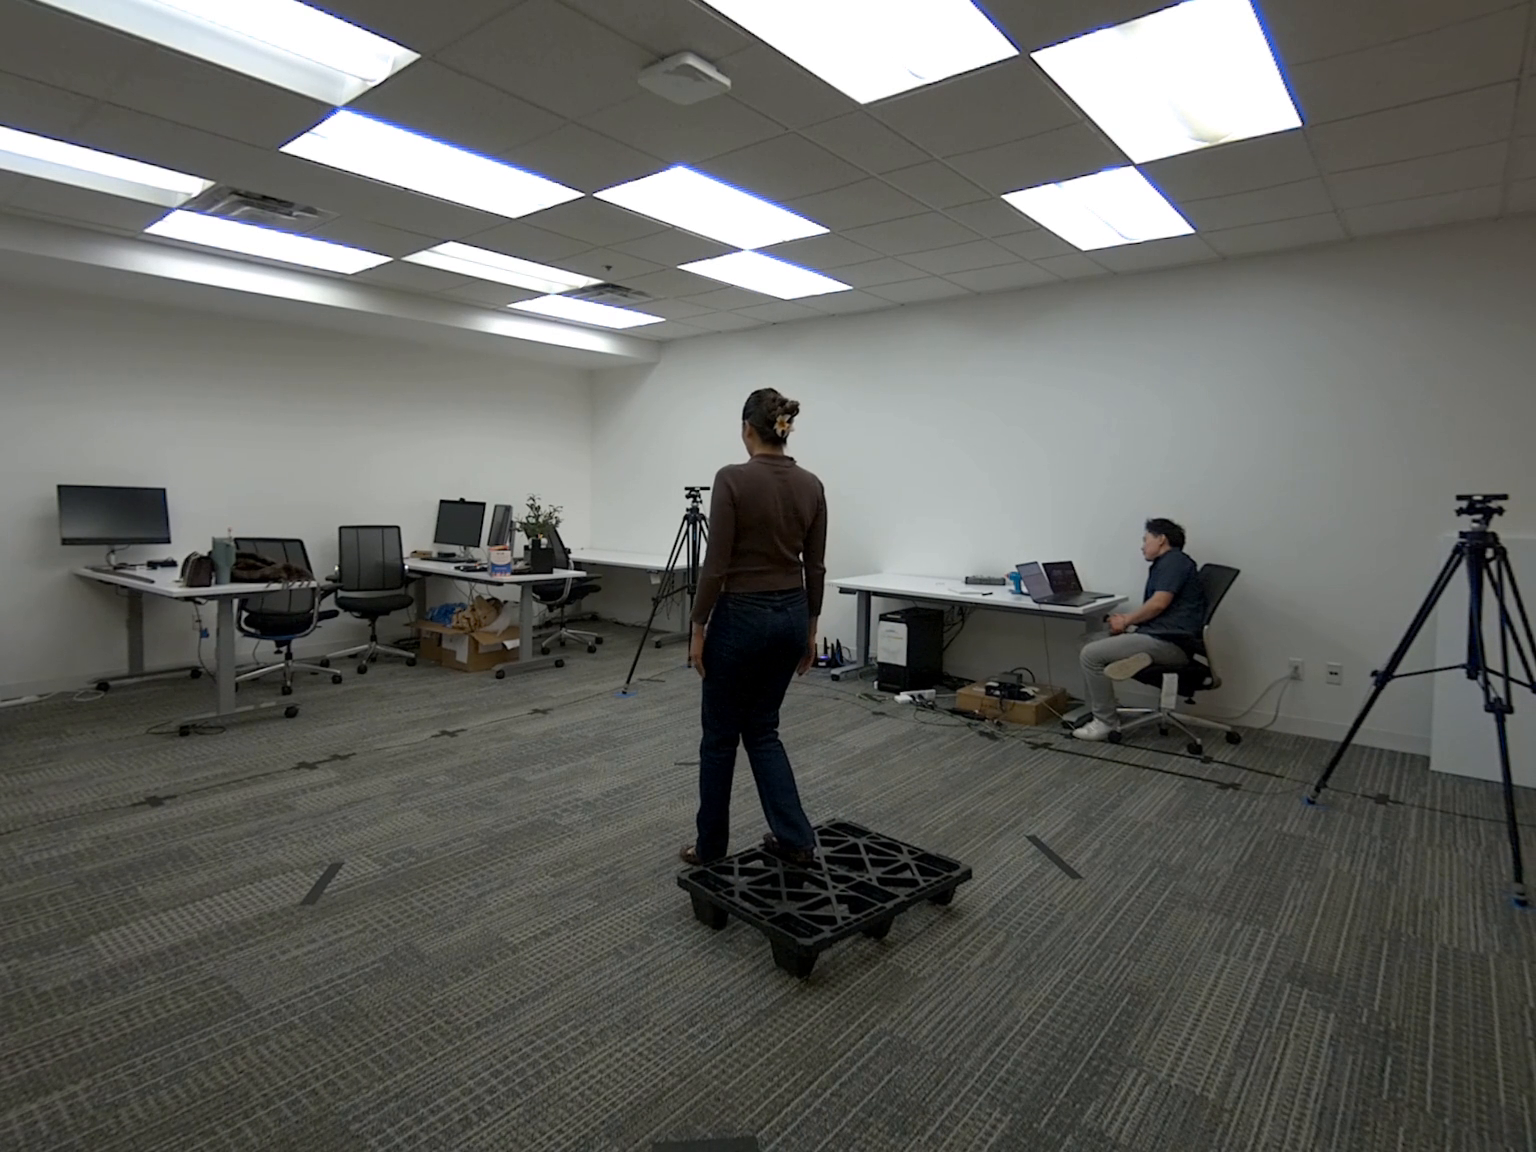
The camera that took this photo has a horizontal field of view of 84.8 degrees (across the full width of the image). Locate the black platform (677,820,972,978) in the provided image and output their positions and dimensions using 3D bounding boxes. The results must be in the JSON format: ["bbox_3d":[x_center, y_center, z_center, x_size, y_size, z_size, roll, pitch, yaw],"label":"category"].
[{"bbox_3d":[0.179,1.029,2.797,0.781,0.143,0.625,-4,5,-42],"label":"black platform"}]
